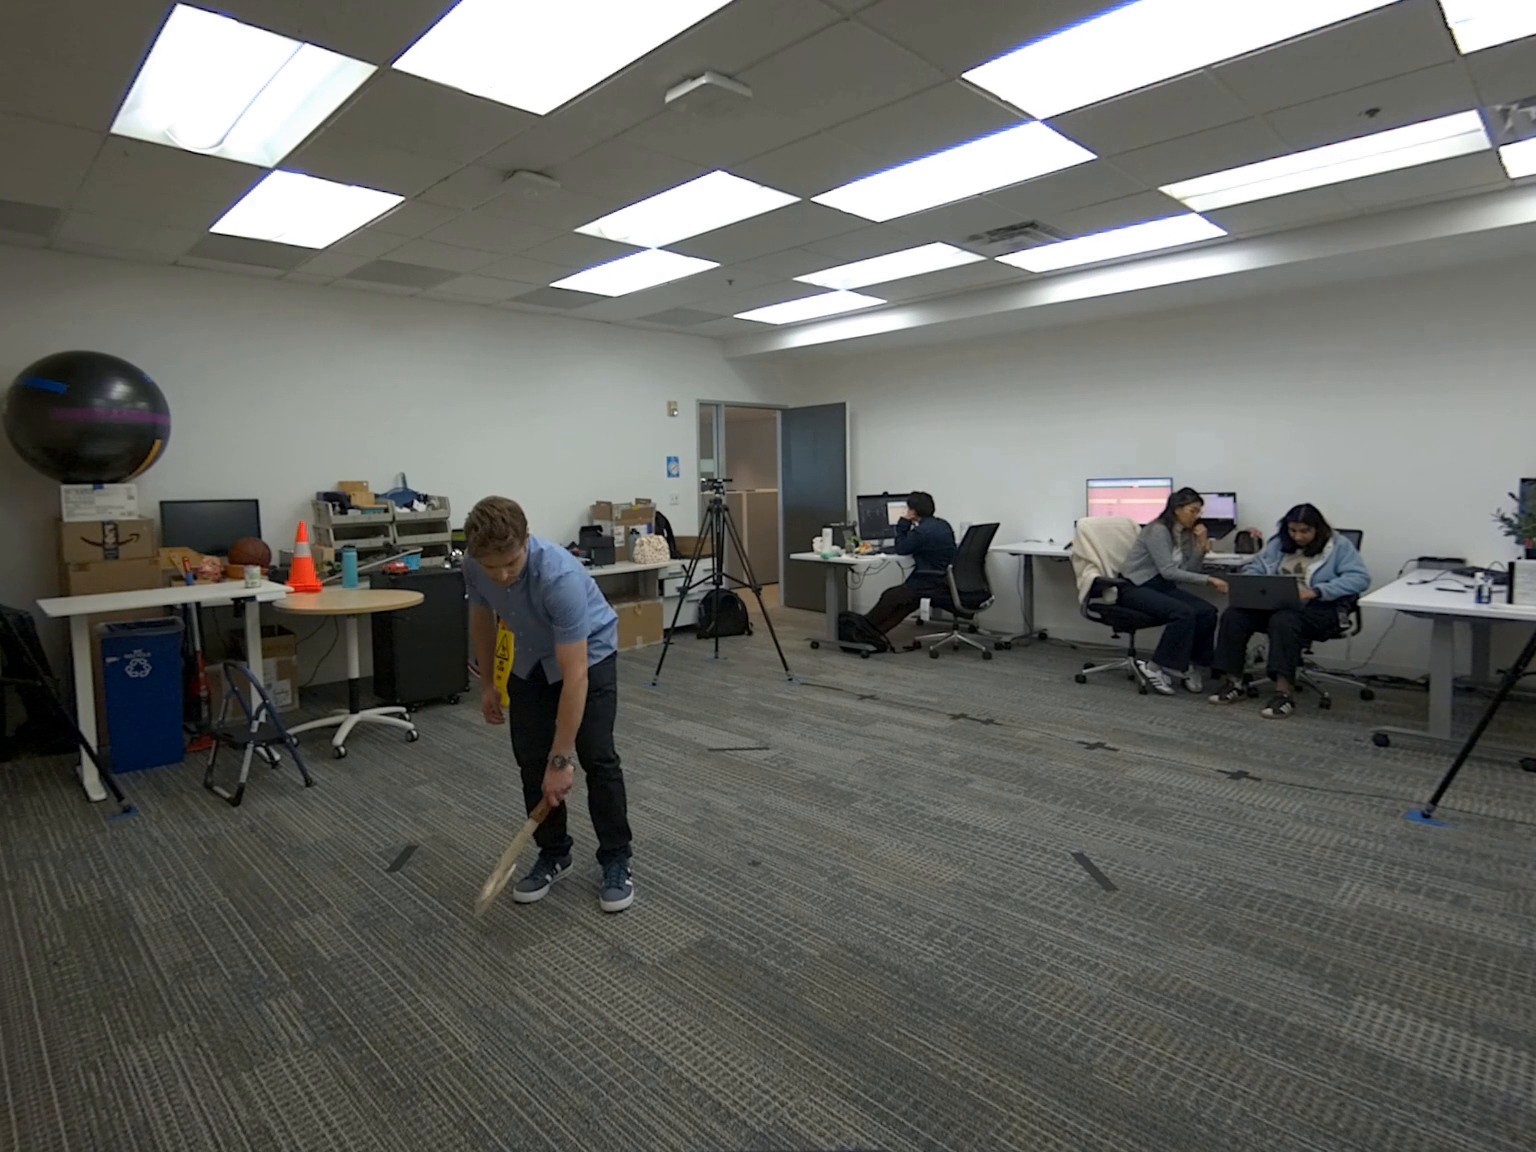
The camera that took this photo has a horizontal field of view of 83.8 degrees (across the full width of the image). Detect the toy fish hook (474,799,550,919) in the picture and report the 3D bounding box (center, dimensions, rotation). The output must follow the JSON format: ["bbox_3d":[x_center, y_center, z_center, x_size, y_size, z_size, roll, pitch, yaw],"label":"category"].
[{"bbox_3d":[-0.732,0.798,2.601,0.047,0.508,0.228,34,-15,-15],"label":"toy fish hook"}]
